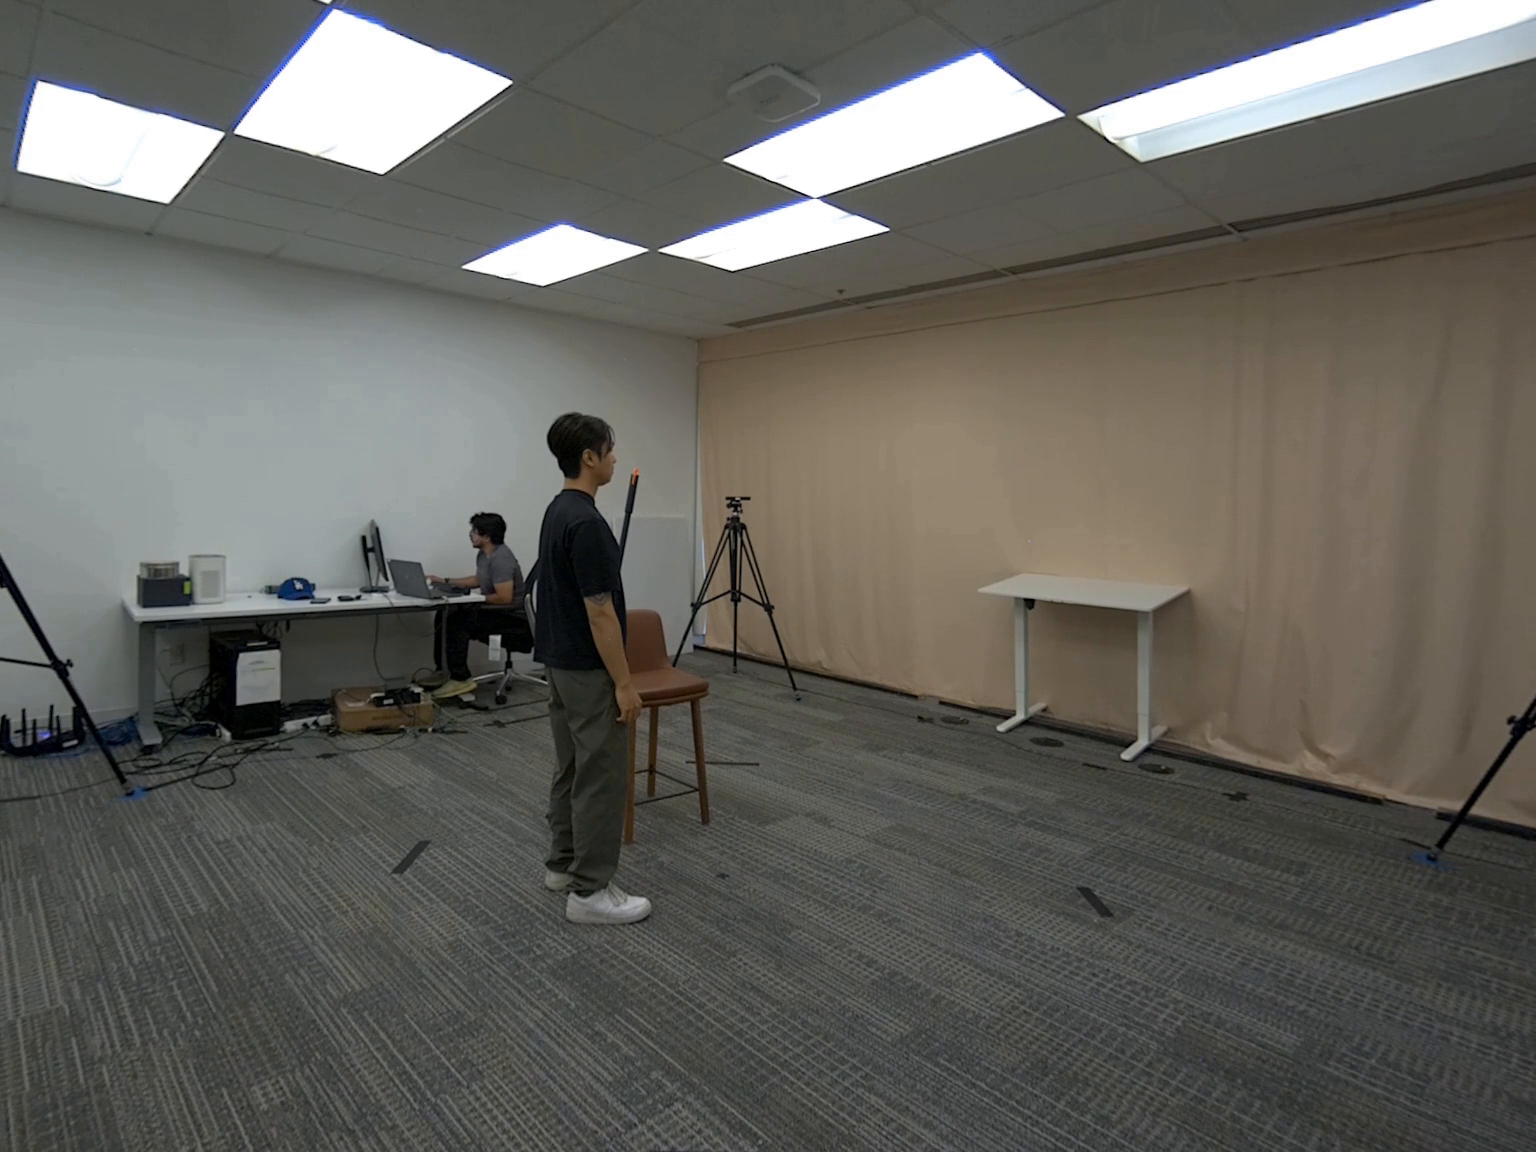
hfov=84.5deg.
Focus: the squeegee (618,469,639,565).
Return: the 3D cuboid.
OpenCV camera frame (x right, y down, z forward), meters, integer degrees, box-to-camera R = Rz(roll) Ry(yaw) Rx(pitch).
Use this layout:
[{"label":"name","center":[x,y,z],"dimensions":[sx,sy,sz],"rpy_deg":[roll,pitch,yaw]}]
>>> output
[{"label":"squeegee","center":[-0.678,0.298,3.479],"dimensions":[0.052,1.541,0.446],"rpy_deg":[9,-4,-27]}]
